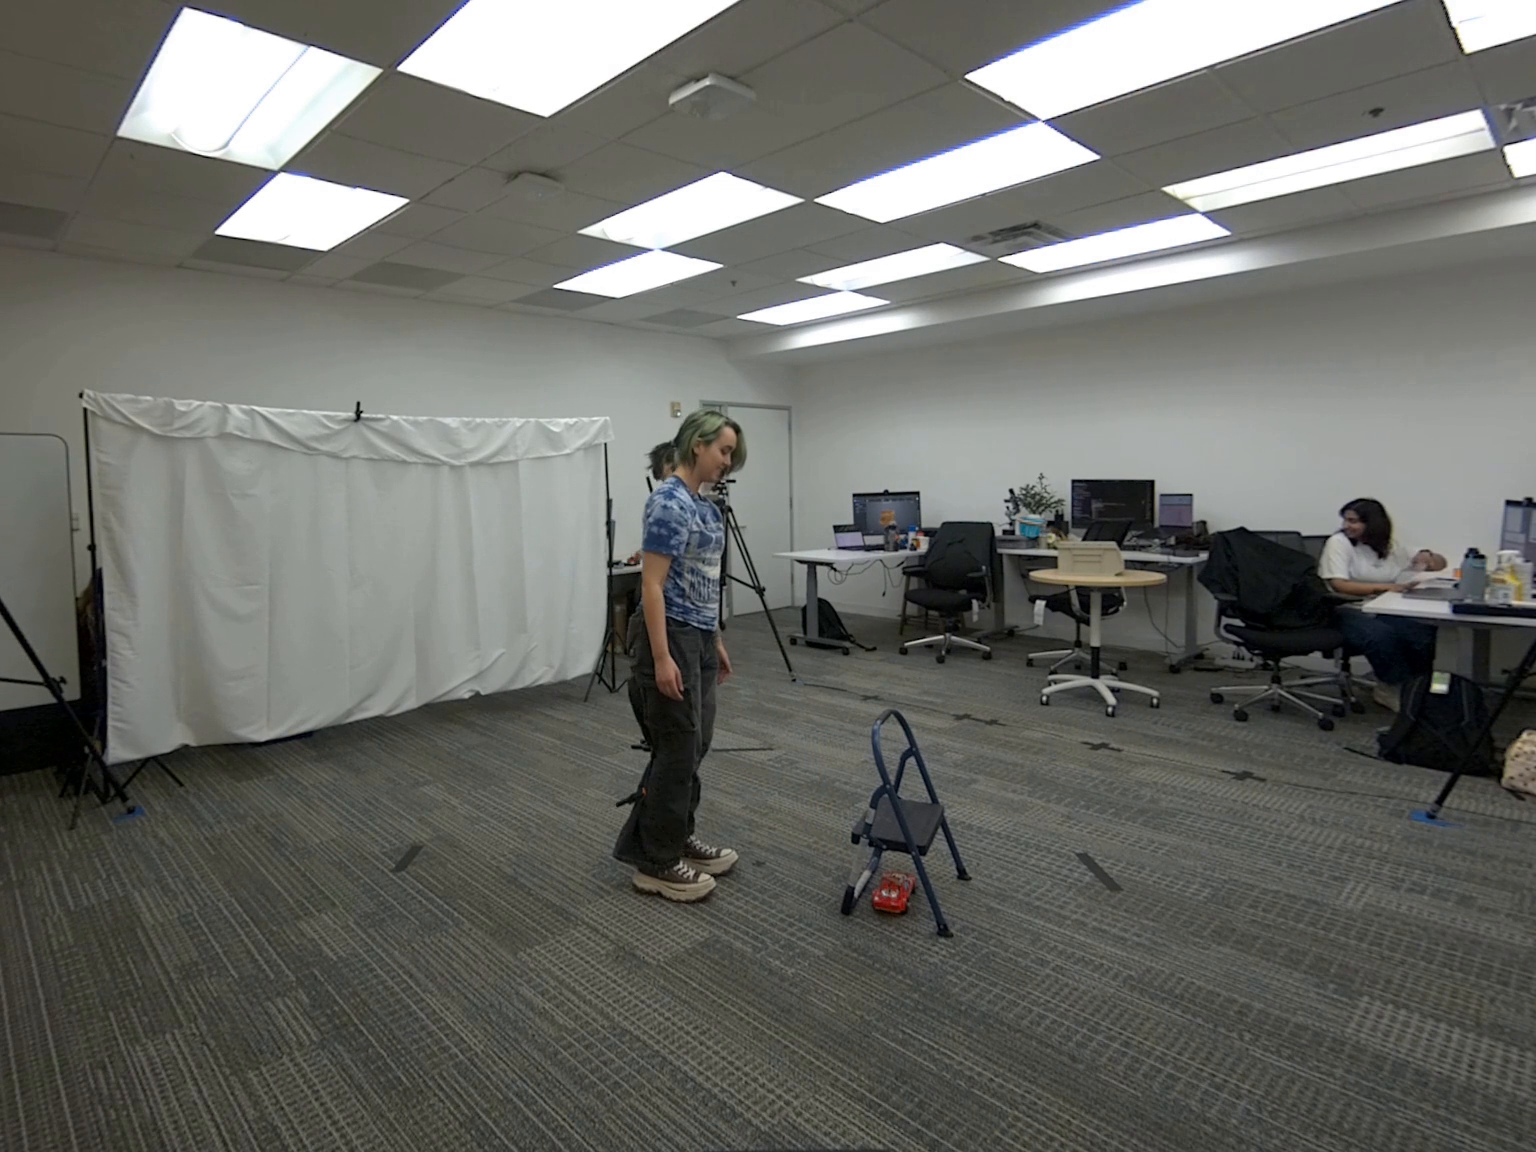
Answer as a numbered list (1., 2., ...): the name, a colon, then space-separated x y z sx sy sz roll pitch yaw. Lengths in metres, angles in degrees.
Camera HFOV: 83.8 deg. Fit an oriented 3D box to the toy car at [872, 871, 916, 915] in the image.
1. toy car: 0.412 1.038 2.806 0.133 0.083 0.248 2 -4 22
